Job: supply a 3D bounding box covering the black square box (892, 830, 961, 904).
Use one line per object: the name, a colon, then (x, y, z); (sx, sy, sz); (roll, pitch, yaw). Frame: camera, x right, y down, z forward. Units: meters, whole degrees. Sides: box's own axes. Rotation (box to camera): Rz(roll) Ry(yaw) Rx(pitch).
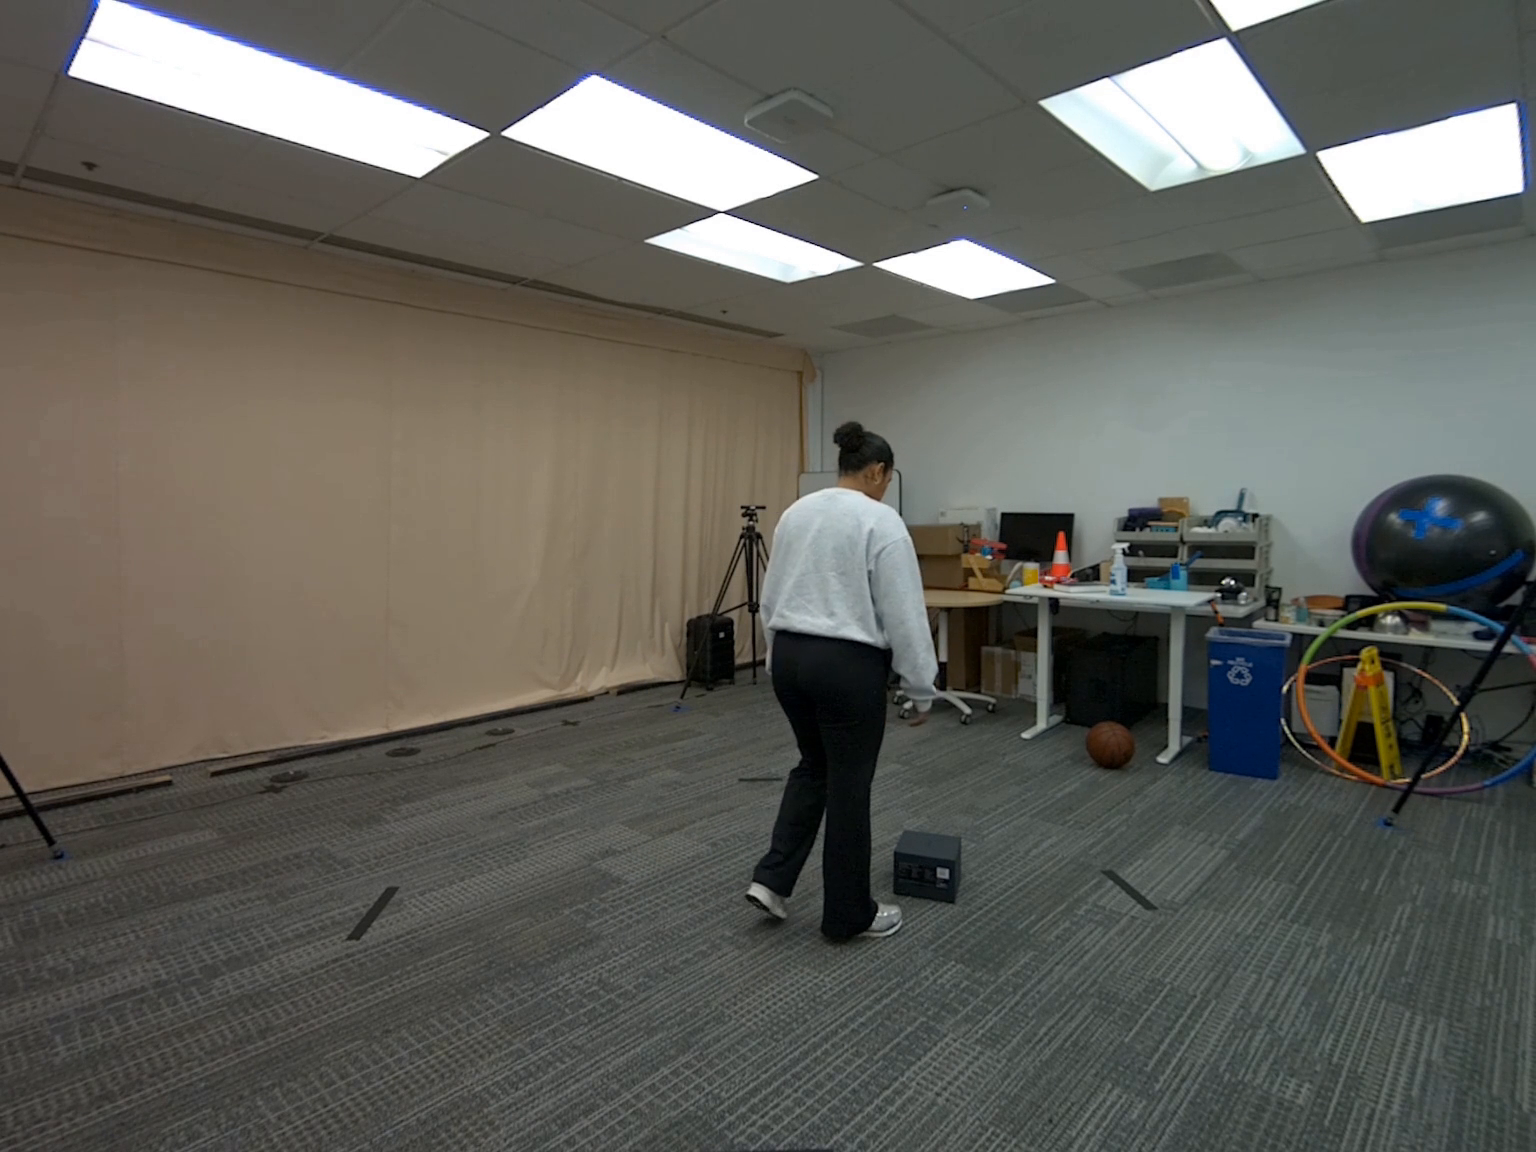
black square box: (0.589, 1.047, 3.070); (0.221, 0.155, 0.223); (1, 4, 20)
